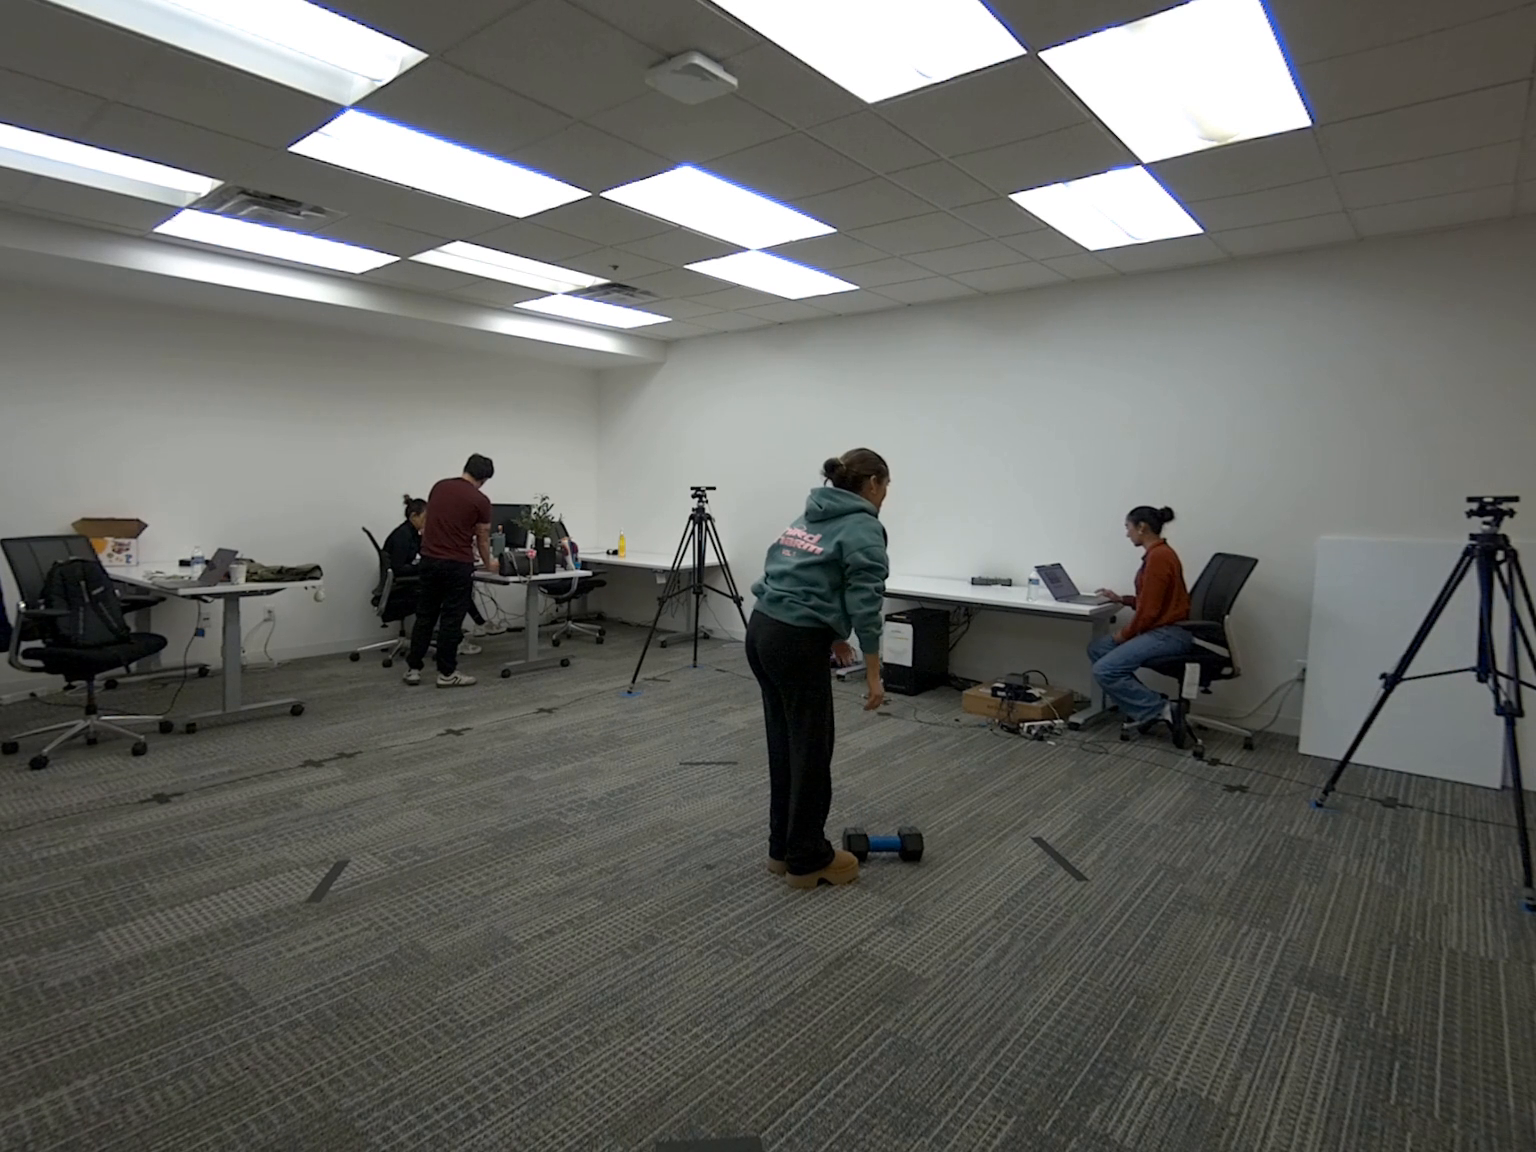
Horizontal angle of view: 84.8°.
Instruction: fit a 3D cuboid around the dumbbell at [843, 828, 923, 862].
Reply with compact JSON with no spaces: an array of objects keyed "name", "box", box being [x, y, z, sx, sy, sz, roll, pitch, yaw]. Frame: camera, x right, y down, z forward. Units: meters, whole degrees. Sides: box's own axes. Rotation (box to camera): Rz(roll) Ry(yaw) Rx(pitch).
[{"name":"dumbbell","box":[0.428,1.020,3.235,0.292,0.126,0.107,1,-26,-5]}]
